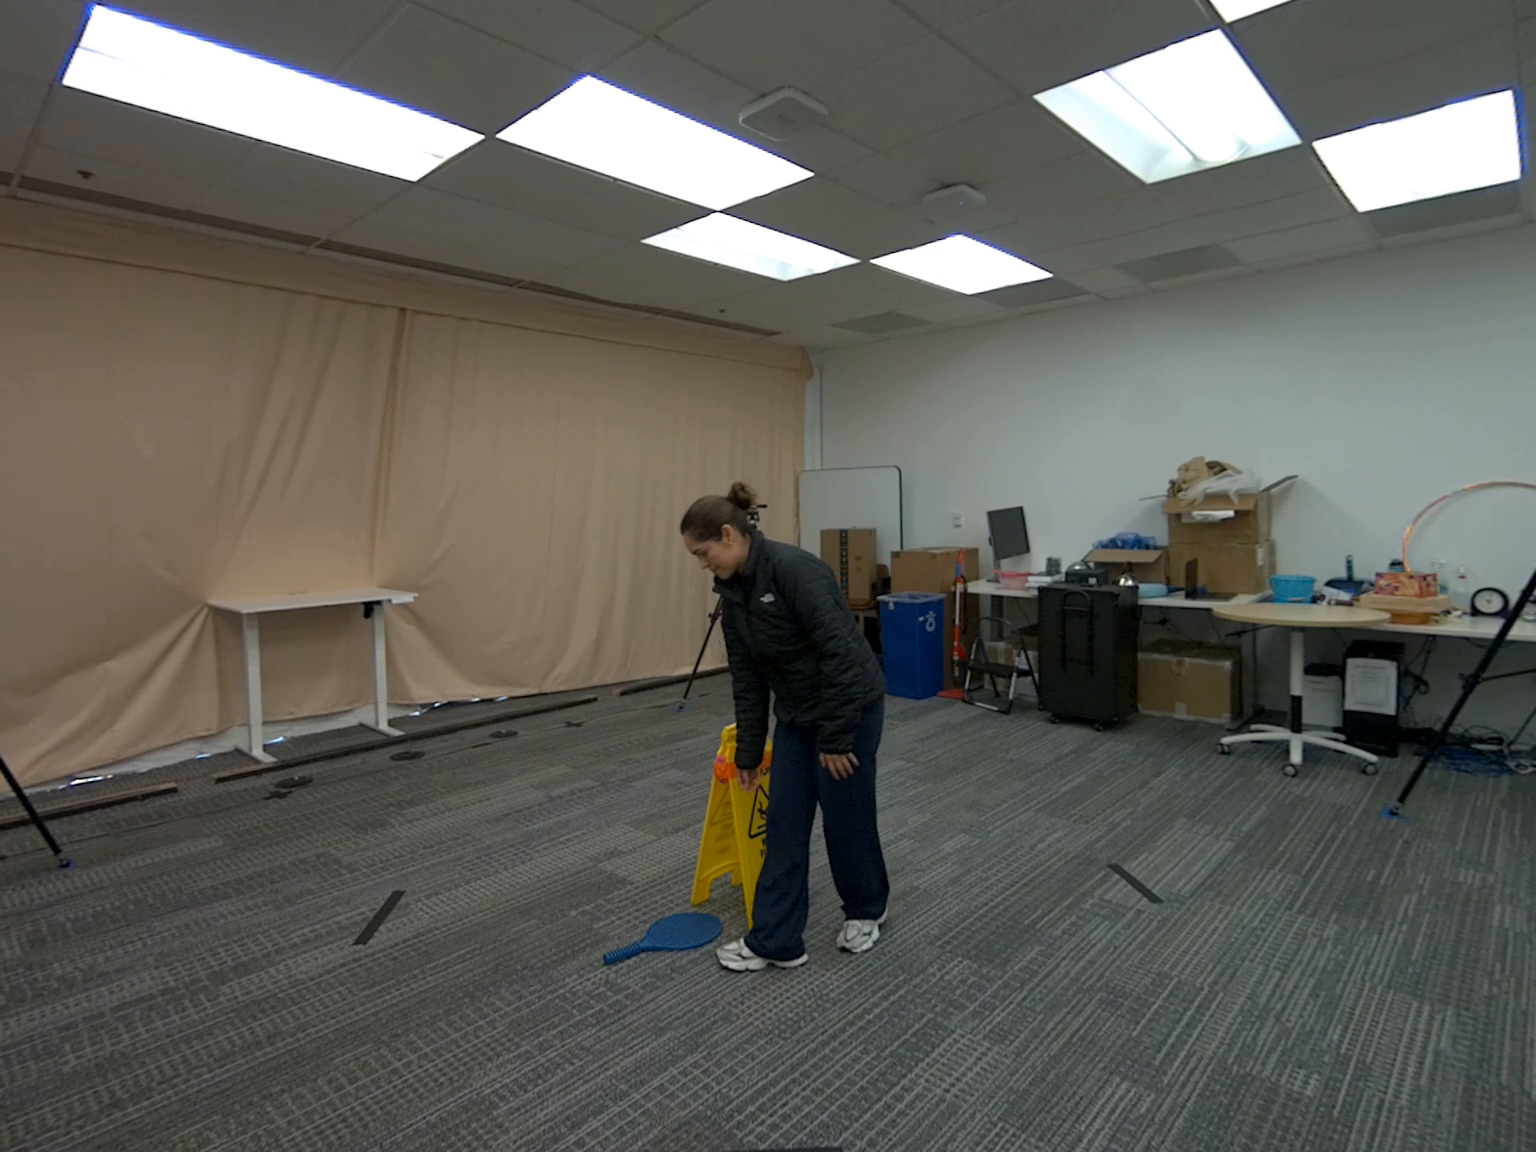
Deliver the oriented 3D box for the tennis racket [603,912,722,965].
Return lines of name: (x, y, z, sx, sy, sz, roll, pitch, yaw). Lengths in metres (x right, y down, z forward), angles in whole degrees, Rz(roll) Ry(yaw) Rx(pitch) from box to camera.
tennis racket: (-0.318, 1.164, 2.698, 0.420, 0.032, 0.221, -3, 5, -41)
